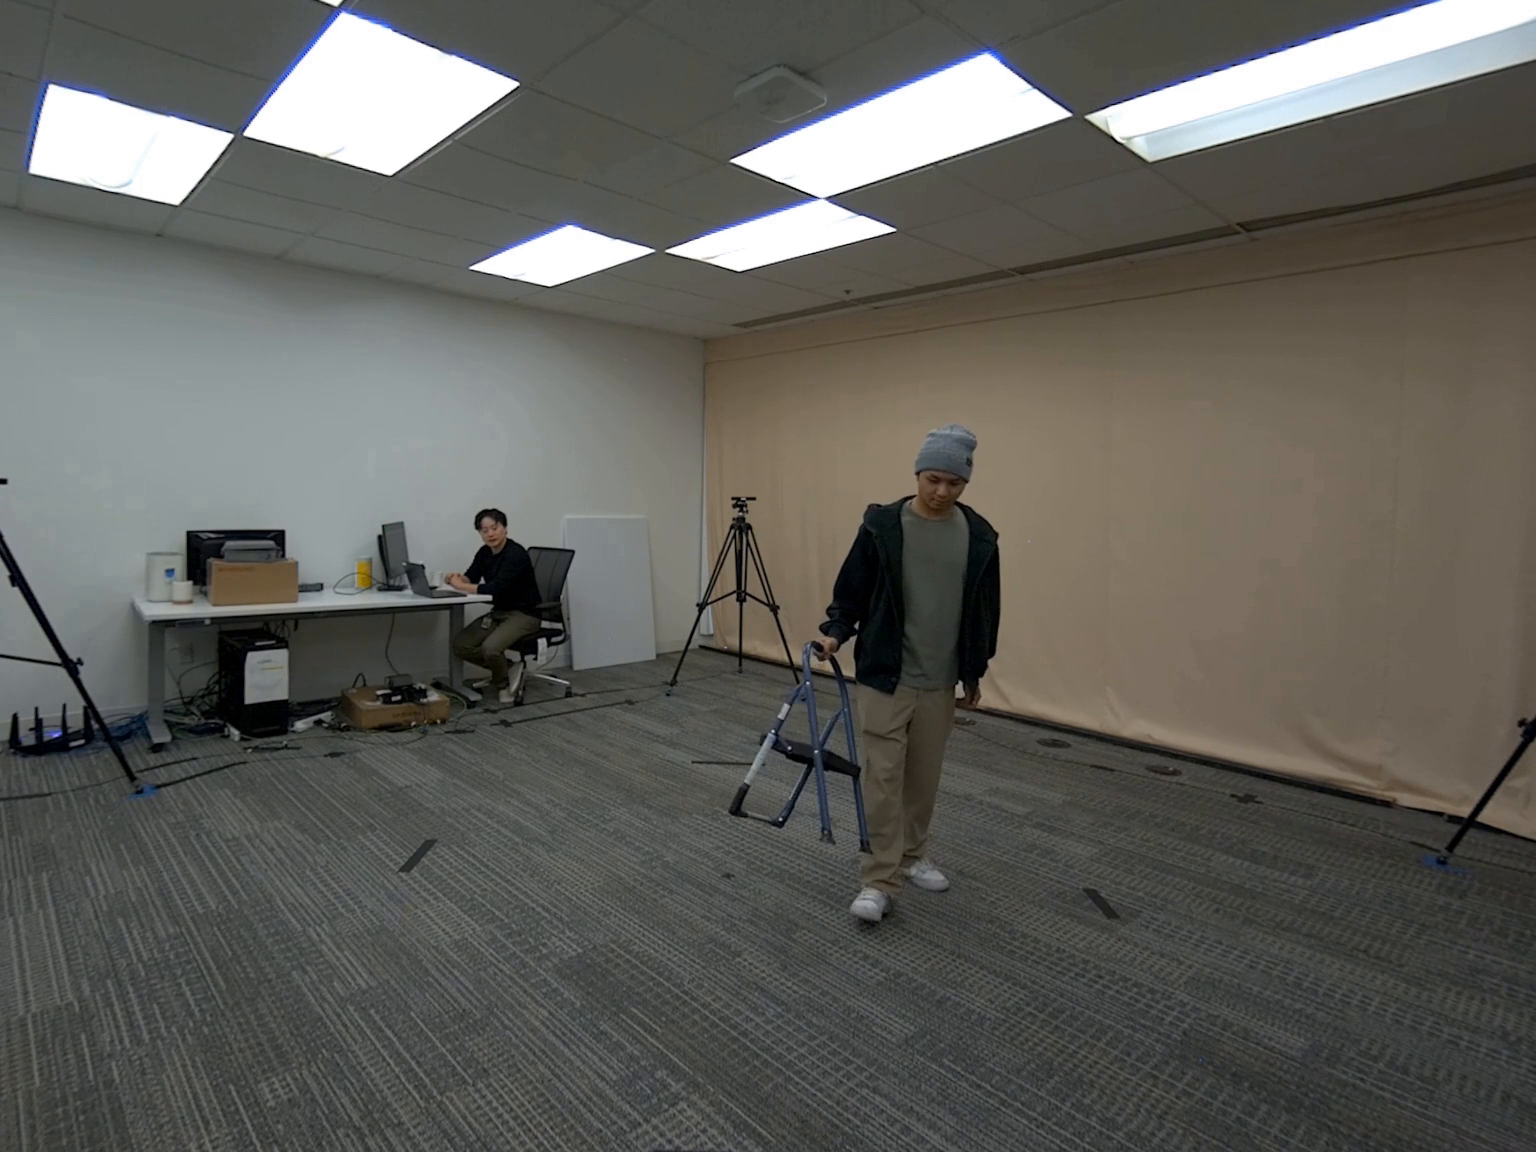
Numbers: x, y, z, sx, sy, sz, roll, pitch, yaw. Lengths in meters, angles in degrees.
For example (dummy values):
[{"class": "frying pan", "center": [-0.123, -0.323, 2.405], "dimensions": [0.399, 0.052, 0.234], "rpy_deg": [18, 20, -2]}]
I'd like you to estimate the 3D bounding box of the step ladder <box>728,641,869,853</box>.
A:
[{"class": "step ladder", "center": [0.162, 0.542, 2.727], "dimensions": [0.357, 0.611, 0.418], "rpy_deg": [7, -17, 27]}]
